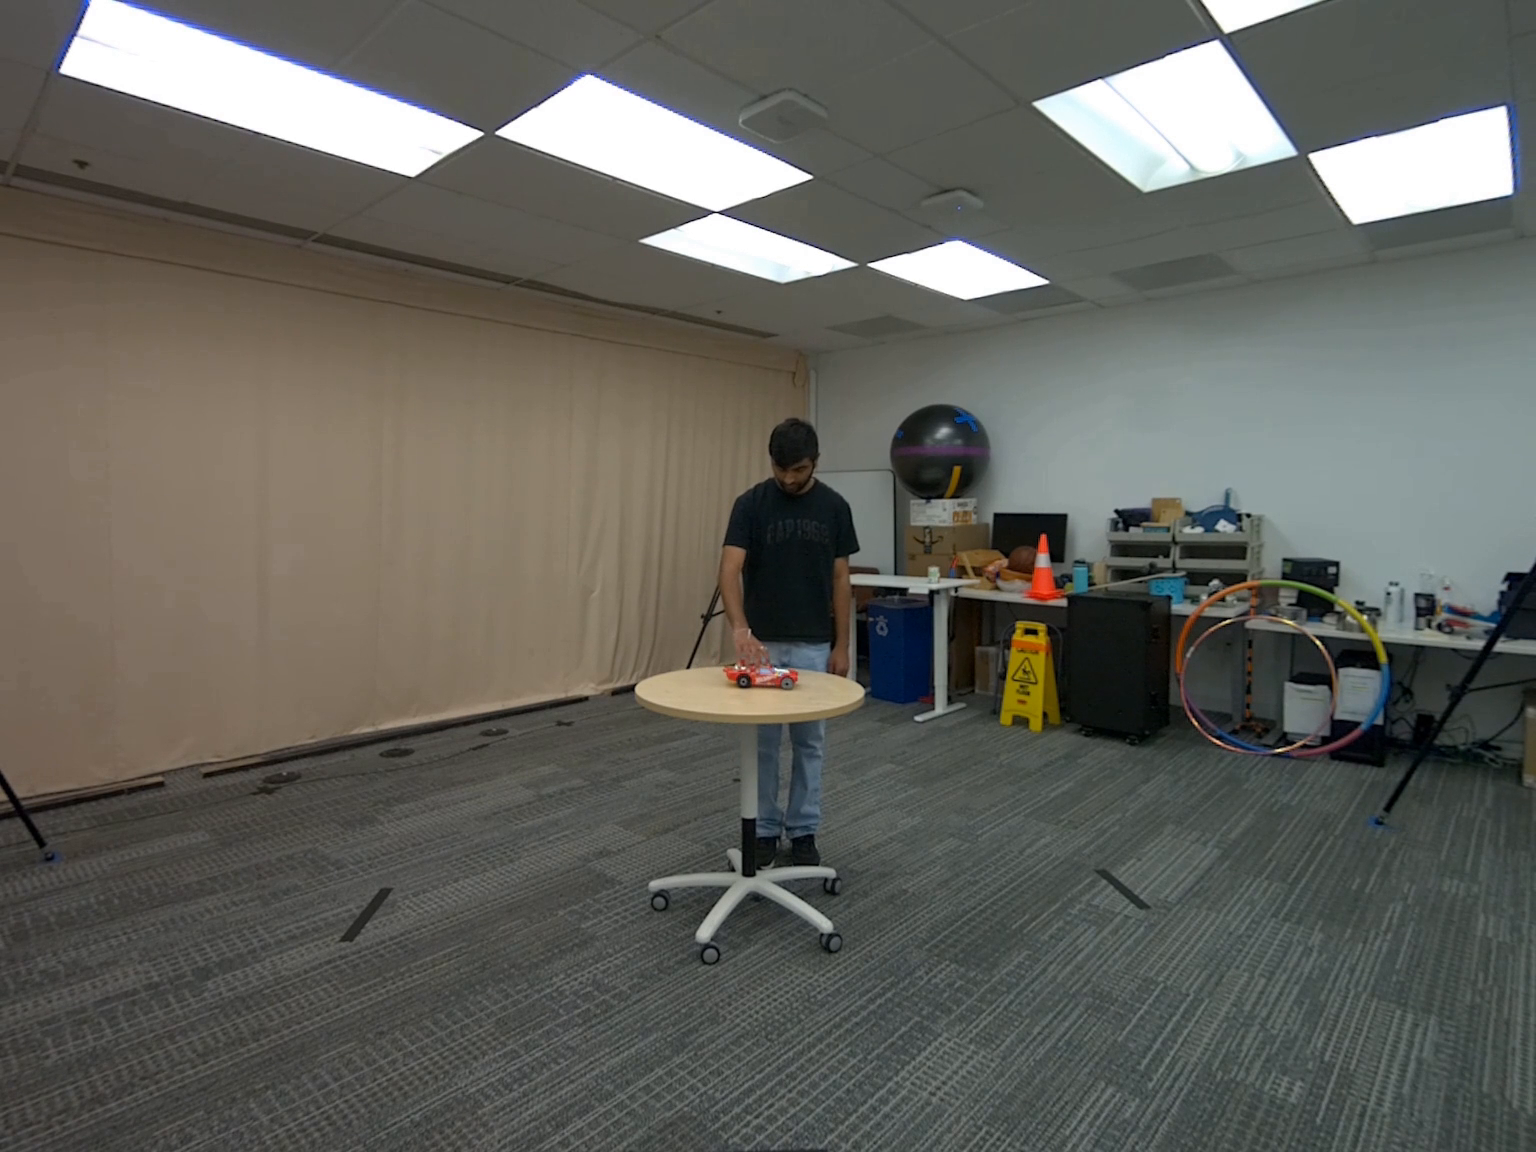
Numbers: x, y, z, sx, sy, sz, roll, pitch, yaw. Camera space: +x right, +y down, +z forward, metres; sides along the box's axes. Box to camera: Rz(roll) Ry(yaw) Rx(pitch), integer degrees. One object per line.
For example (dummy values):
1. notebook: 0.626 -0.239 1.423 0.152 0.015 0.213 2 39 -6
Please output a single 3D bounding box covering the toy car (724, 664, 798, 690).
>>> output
1. toy car: -0.028 0.341 2.857 0.256 0.083 0.130 11 5 5
